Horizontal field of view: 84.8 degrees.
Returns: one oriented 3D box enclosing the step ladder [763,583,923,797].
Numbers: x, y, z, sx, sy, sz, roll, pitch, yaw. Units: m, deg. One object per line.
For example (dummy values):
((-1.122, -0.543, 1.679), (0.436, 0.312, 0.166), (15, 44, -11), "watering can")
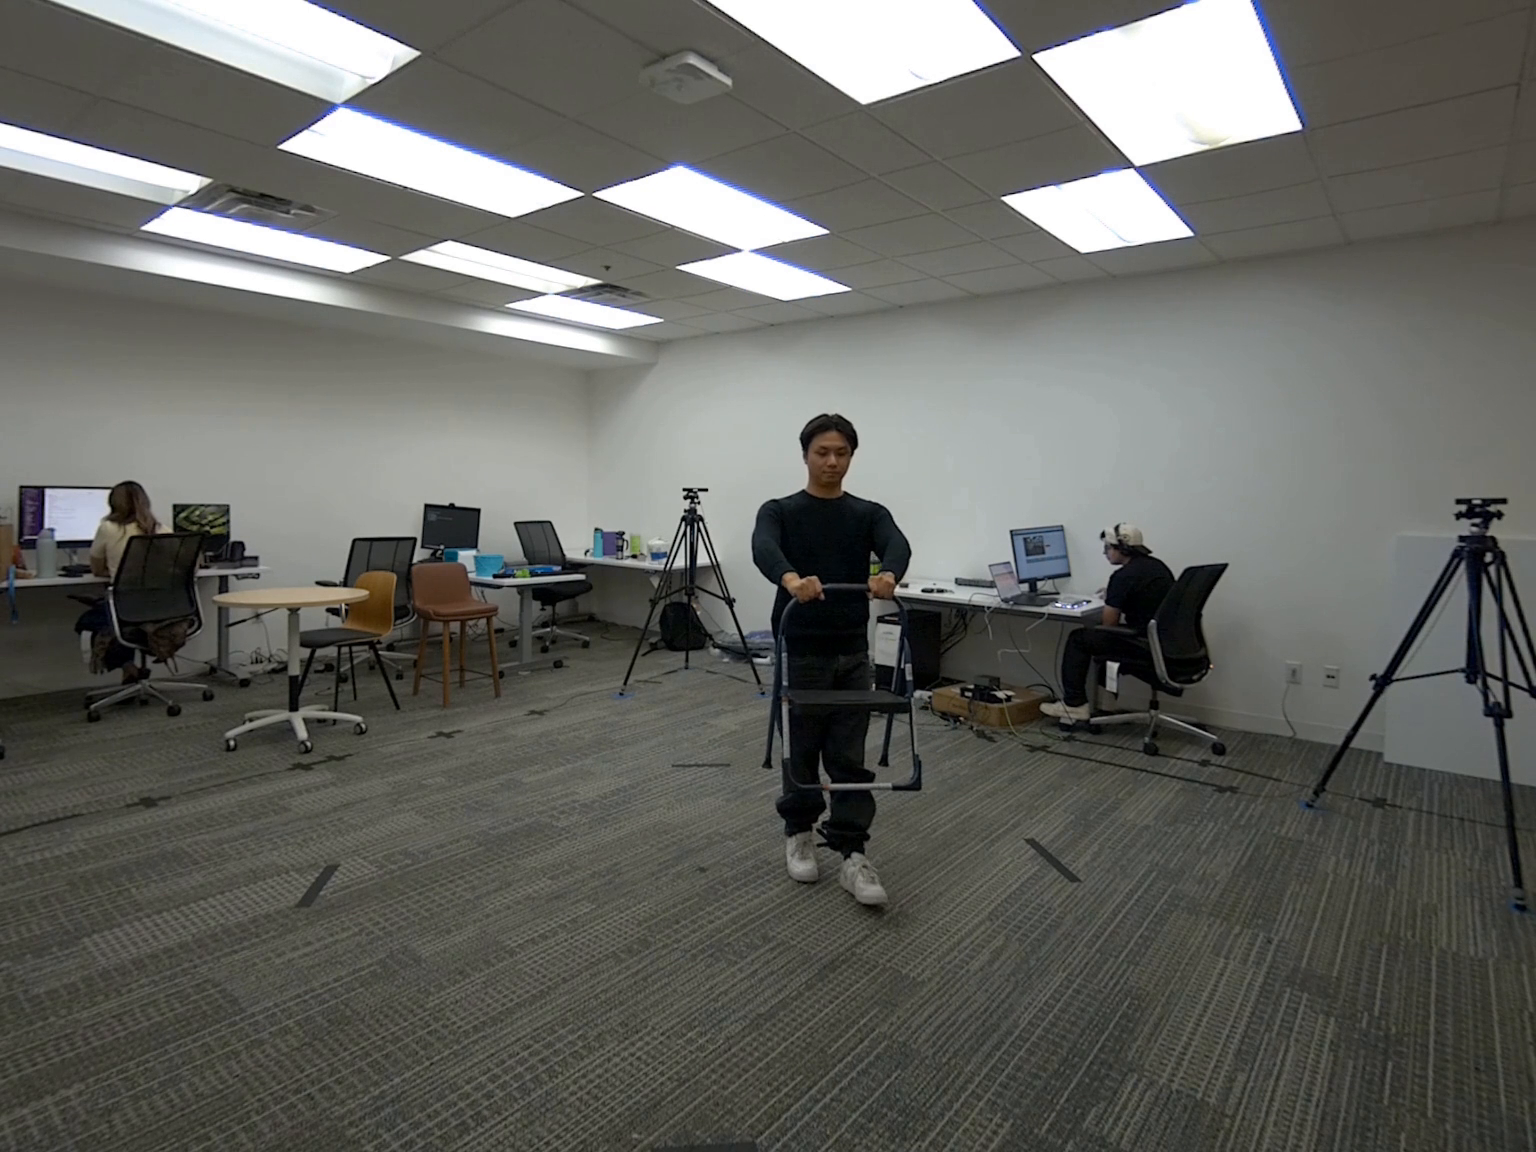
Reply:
((0.218, 0.332, 2.666), (0.426, 0.607, 0.352), (0, -2, -10), "step ladder")
